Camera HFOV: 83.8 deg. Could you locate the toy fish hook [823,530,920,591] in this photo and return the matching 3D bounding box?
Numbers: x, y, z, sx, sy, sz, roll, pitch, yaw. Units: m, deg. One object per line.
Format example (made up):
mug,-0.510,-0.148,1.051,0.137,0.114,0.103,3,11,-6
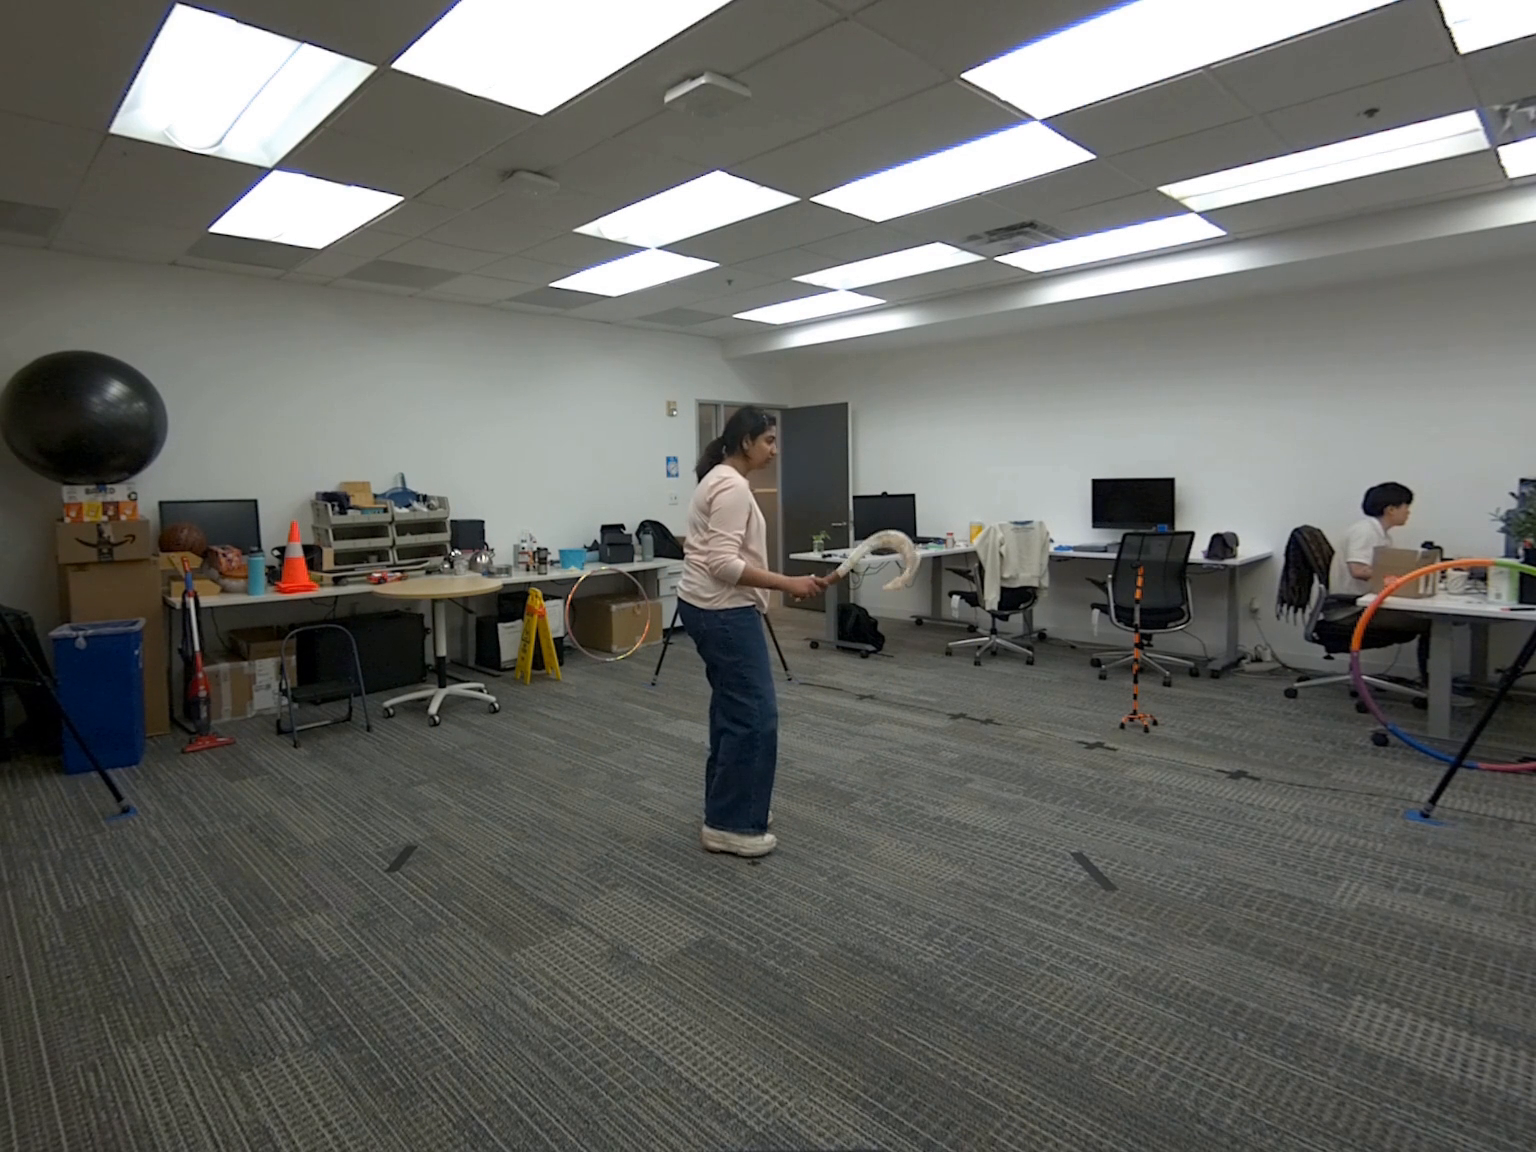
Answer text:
toy fish hook,0.324,0.004,3.147,0.505,0.231,0.047,-29,-26,-6
